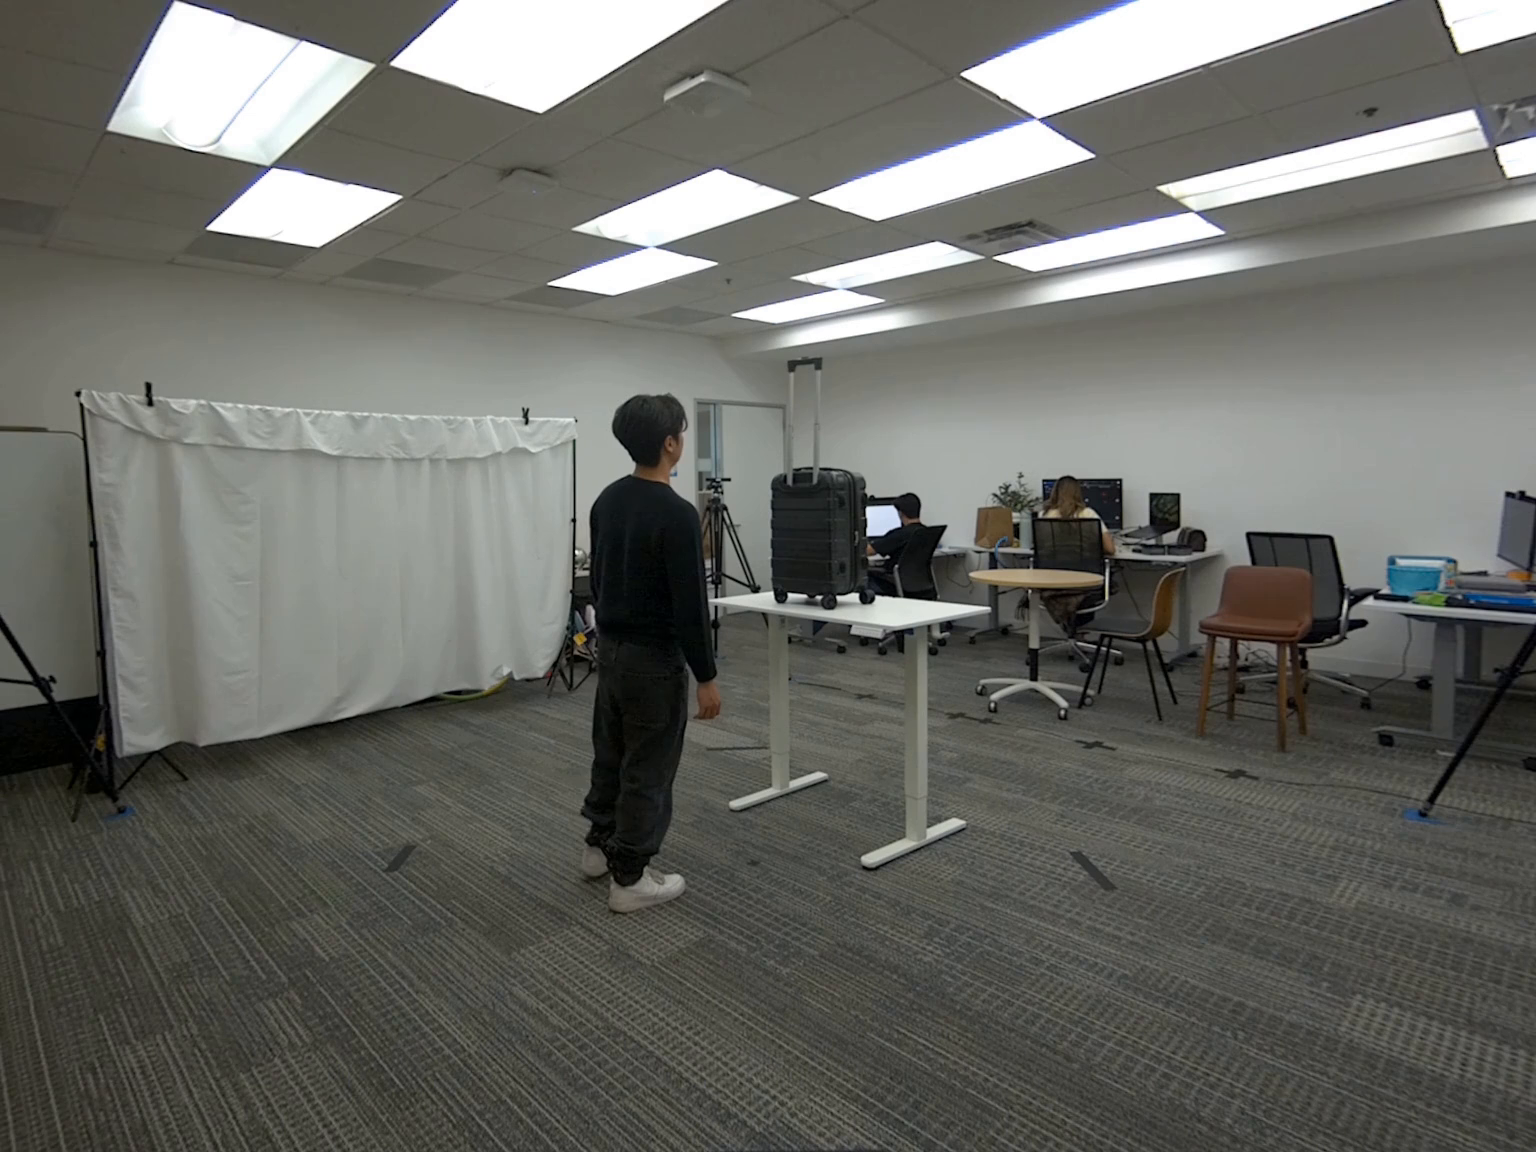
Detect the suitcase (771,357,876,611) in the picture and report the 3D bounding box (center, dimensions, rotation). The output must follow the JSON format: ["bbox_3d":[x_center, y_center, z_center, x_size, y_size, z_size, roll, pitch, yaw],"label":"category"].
[{"bbox_3d":[0.208,-0.369,3.469,0.250,0.976,0.396,-2,3,-44],"label":"suitcase"}]
